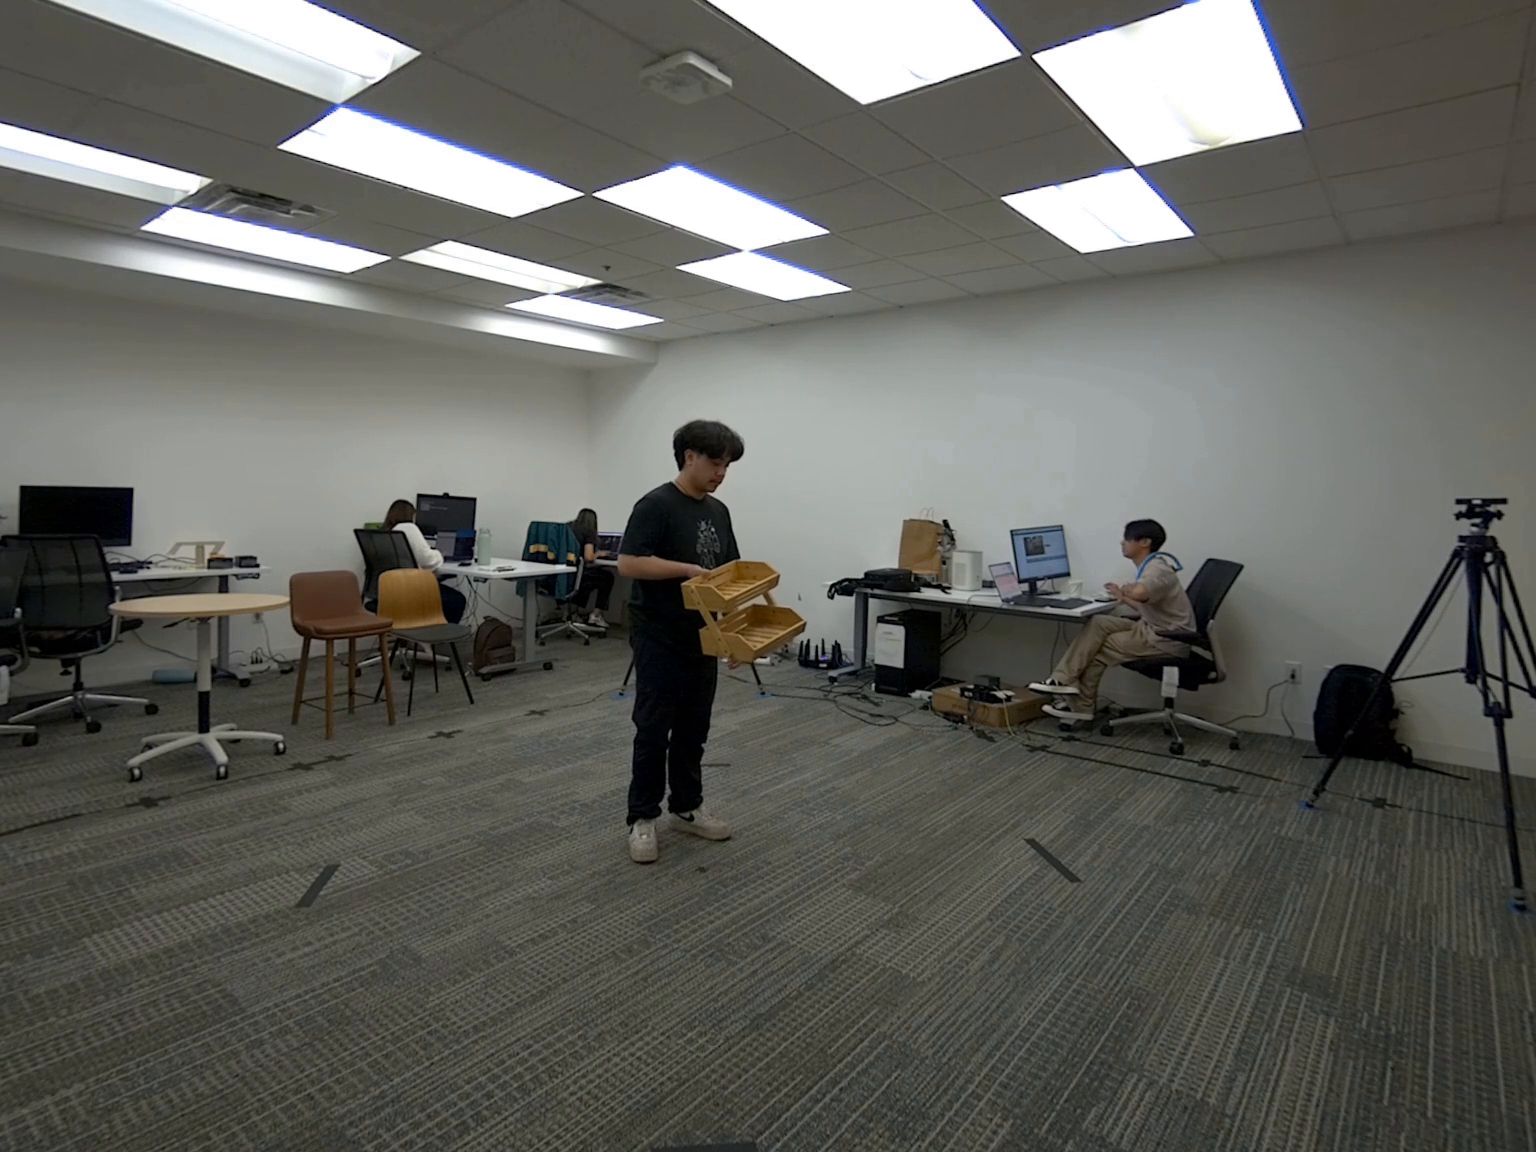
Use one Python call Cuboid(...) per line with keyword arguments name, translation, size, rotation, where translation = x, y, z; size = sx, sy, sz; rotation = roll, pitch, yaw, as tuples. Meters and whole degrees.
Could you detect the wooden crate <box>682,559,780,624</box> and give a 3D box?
Cuboid(name="wooden crate", translation=(-0.086, 0.109, 3.039), size=(0.312, 0.270, 0.318), rotation=(2, 17, 40))
